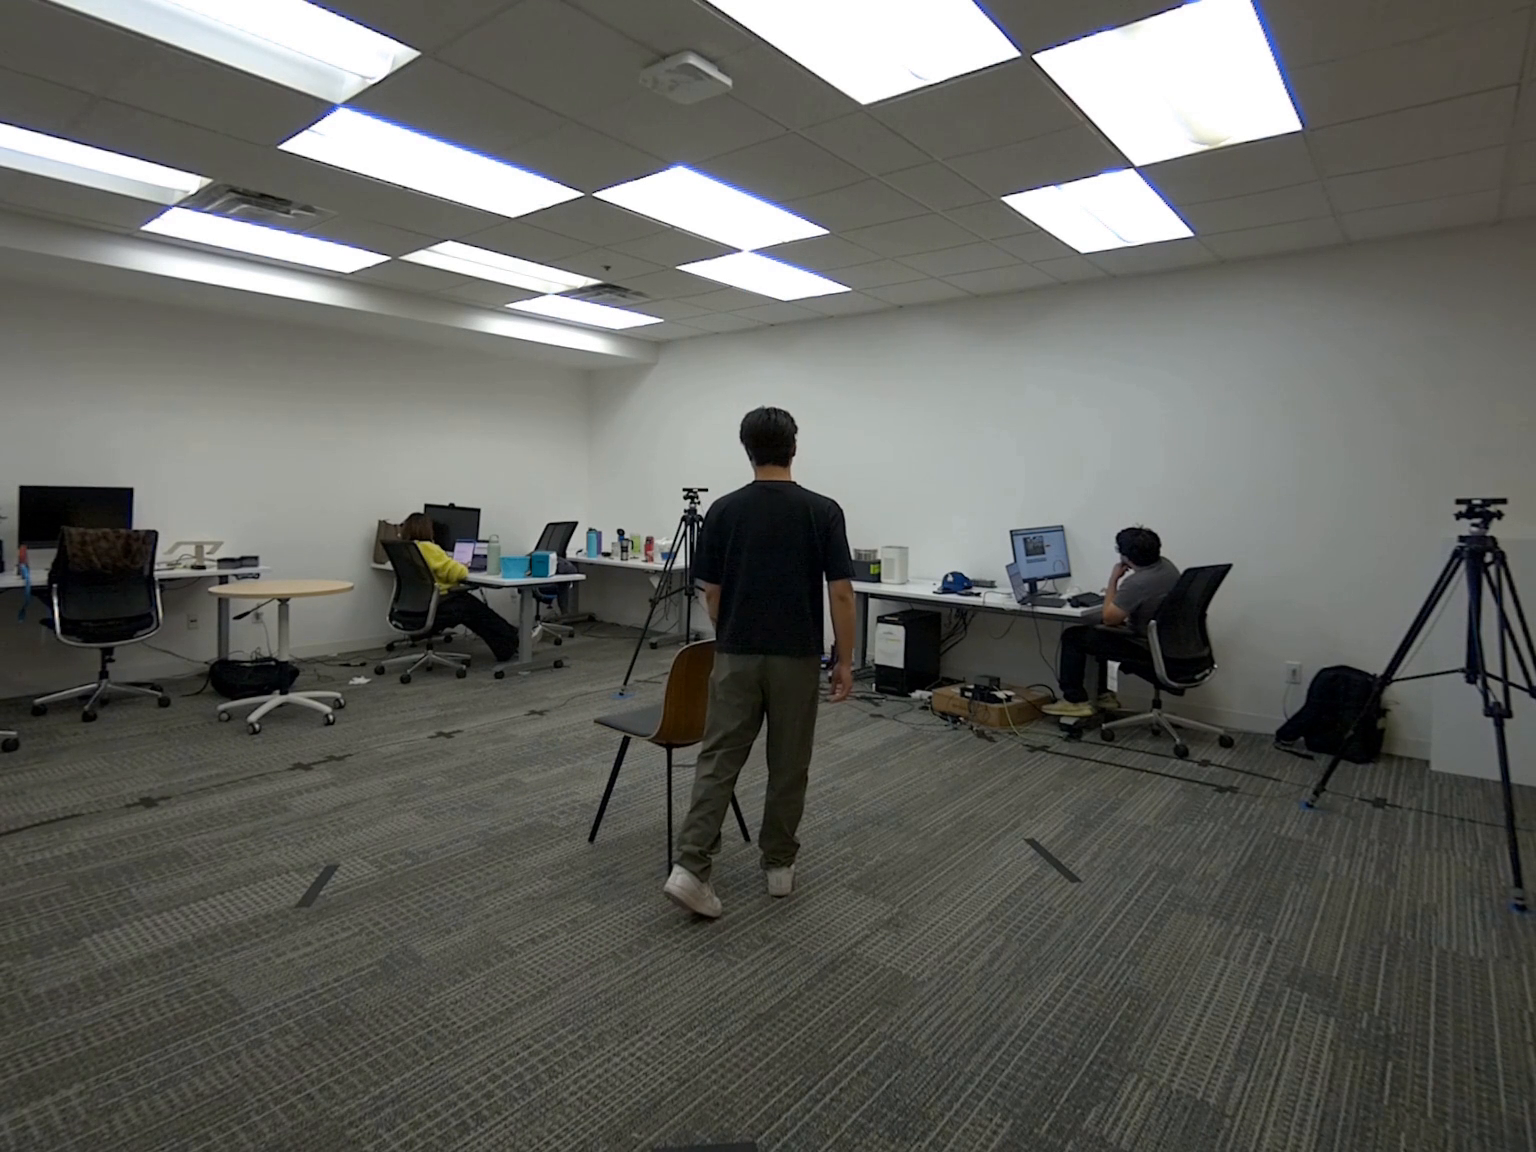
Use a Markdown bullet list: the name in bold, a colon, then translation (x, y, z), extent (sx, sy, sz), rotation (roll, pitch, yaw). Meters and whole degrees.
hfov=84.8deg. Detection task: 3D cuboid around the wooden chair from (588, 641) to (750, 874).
- **wooden chair**: translation (-0.399, 0.619, 3.327), extent (0.542, 0.873, 0.464), rotation (10, 8, 40)
